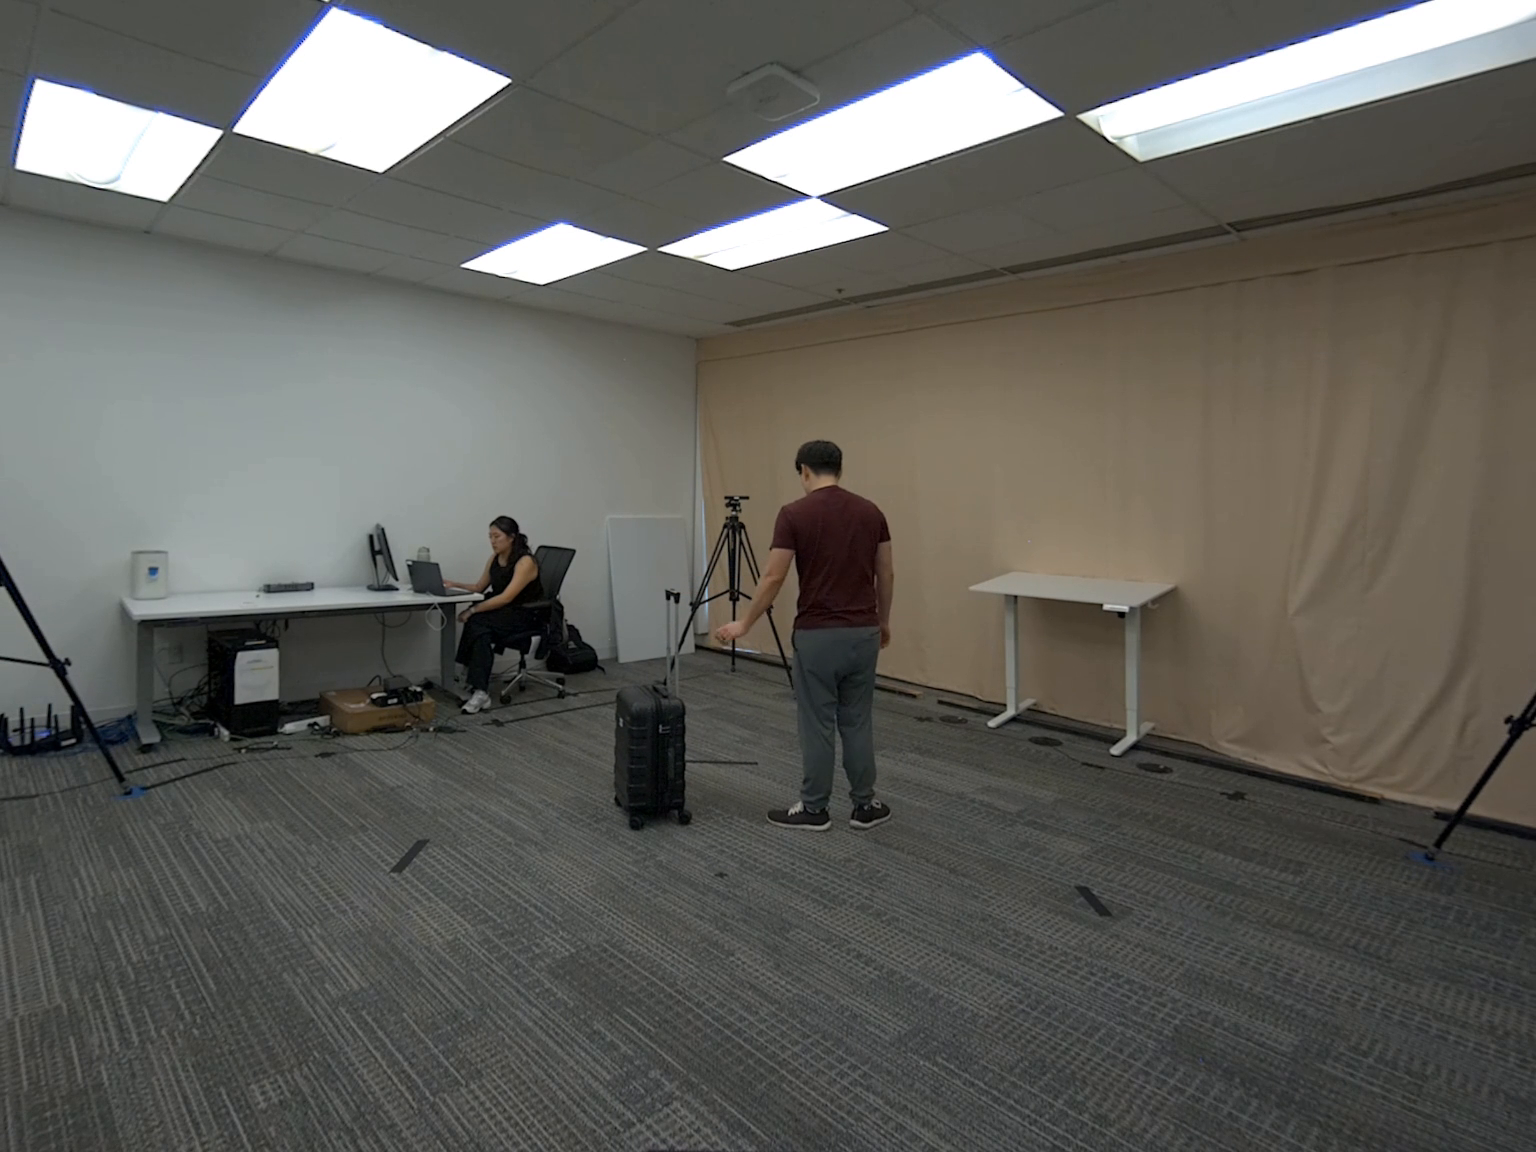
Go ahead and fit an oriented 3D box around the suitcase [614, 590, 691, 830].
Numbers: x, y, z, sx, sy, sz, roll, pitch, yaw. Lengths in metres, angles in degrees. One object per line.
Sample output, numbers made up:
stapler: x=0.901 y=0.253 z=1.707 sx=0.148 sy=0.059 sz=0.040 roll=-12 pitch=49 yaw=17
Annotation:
suitcase: x=-0.530 y=0.570 z=3.672 sx=0.253 sy=0.977 sz=0.390 roll=-2 pitch=3 yaw=-21
